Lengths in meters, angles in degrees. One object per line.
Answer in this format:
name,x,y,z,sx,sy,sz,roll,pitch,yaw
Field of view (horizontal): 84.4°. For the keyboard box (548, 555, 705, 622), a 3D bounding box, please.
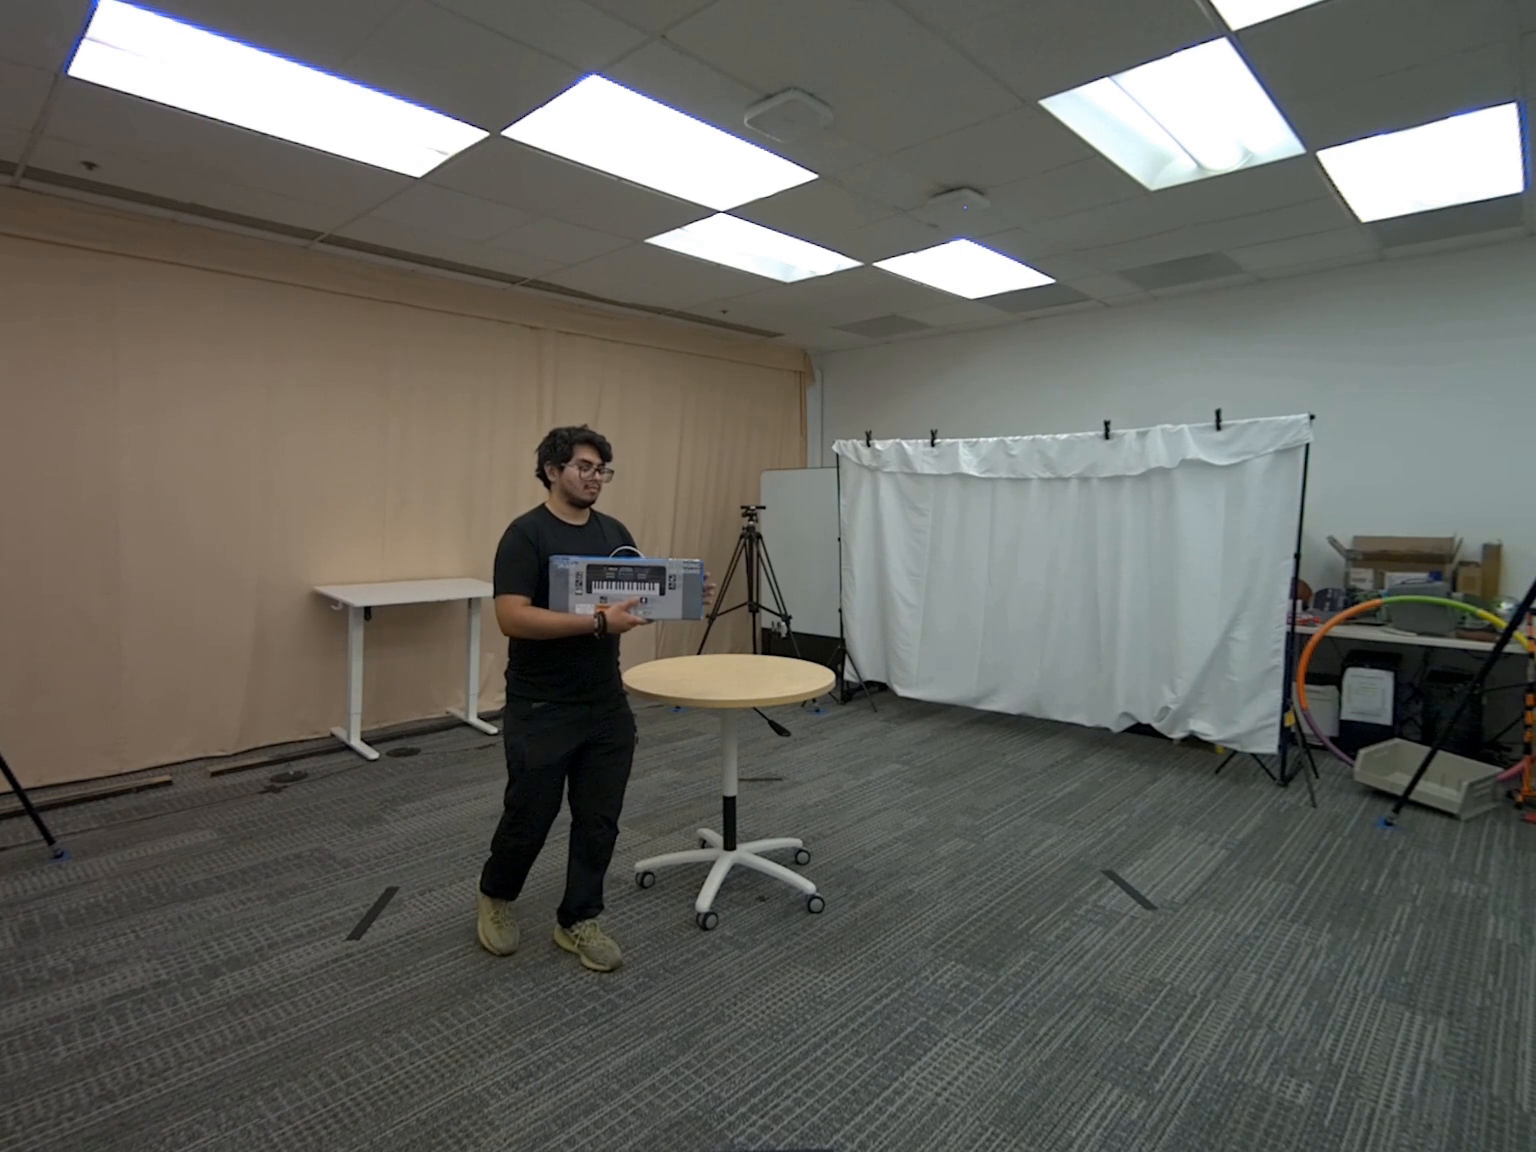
keyboard box,-0.421,0.039,2.416,0.437,0.175,0.059,2,6,0
